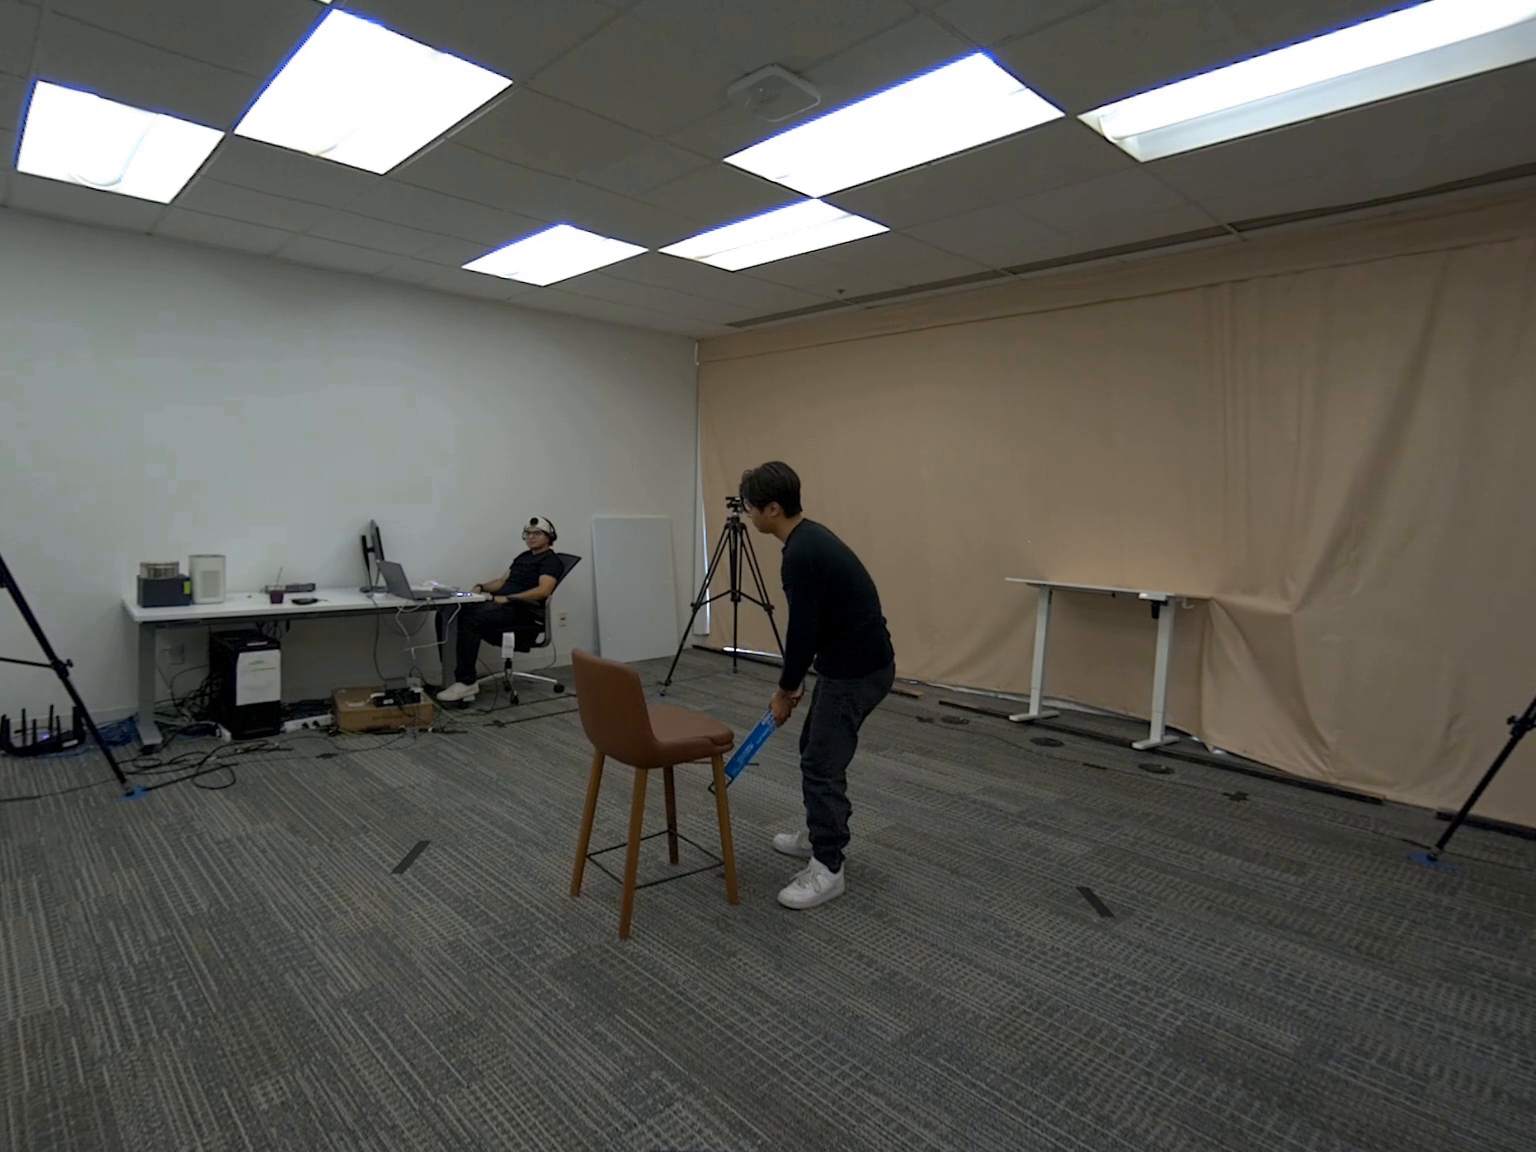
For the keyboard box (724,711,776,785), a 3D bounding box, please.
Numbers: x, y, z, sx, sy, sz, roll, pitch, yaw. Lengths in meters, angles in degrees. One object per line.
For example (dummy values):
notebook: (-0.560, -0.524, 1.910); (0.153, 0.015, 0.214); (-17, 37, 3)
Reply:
keyboard box: (-0.069, 0.639, 3.222); (0.059, 0.436, 0.175); (37, 17, 4)
